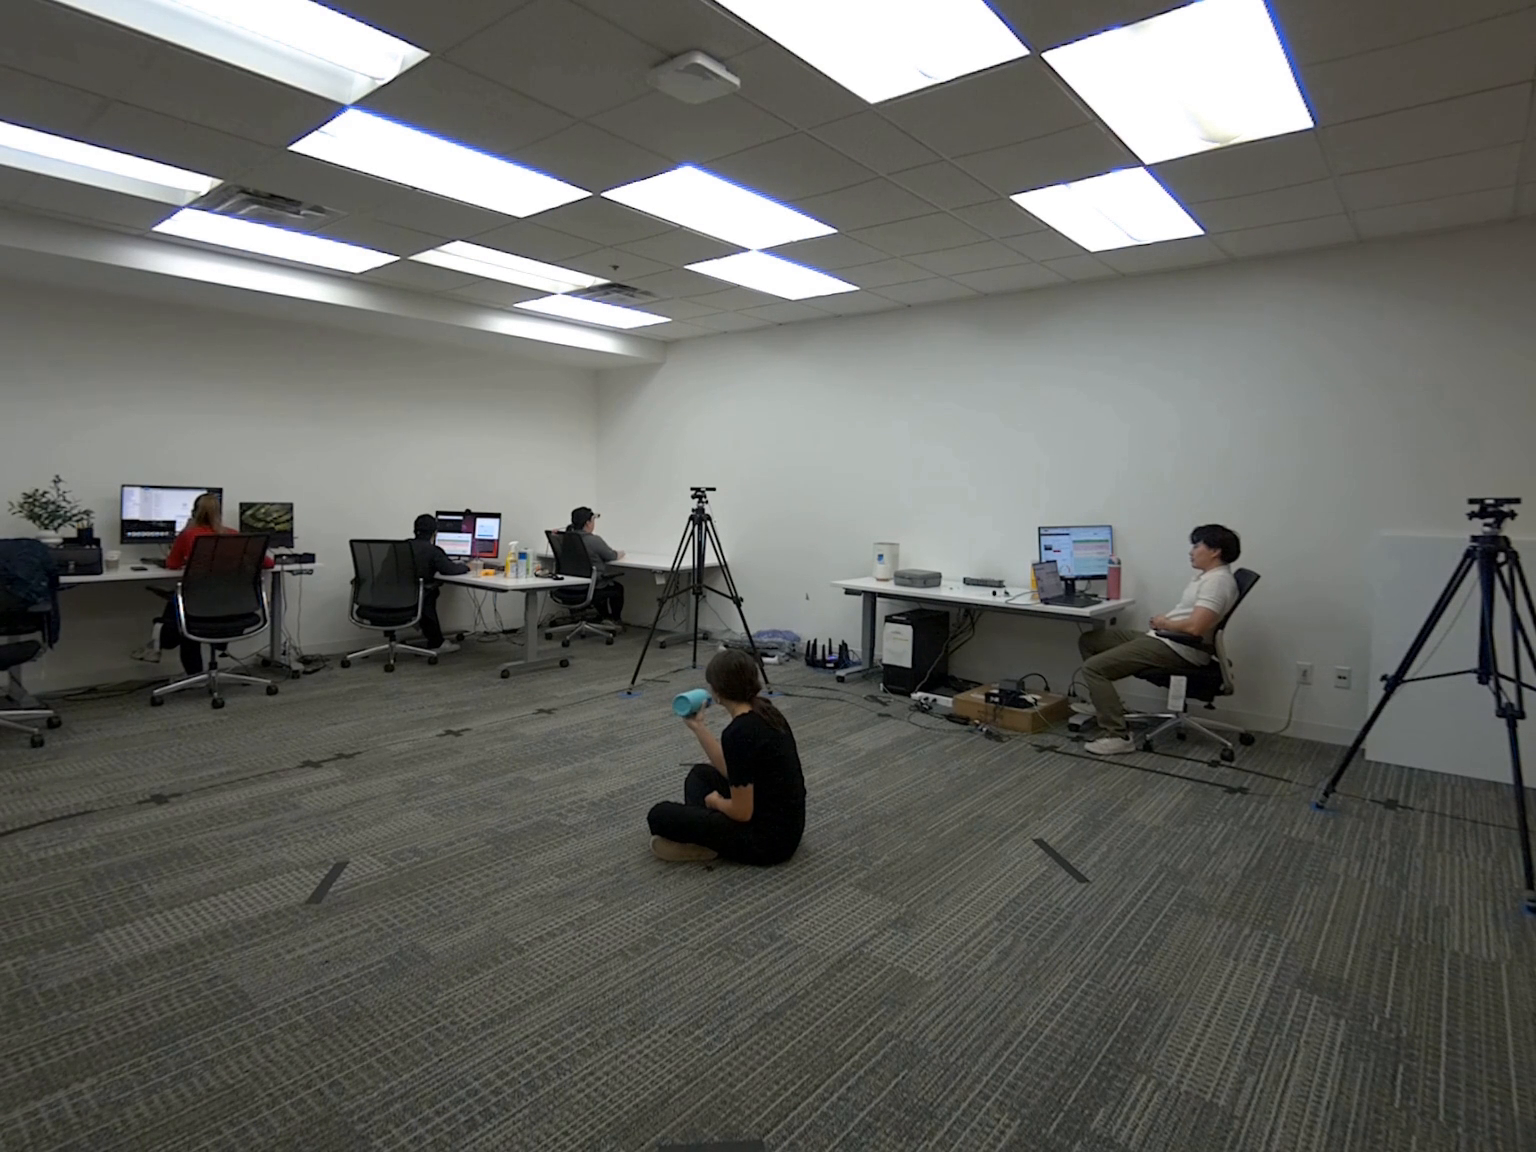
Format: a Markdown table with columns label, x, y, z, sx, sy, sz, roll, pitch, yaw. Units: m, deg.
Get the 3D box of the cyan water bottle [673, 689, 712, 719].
| label | x | y | z | sx | sy | sz | roll | pitch | yaw |
| --- | --- | --- | --- | --- | --- | --- | --- | --- | --- |
| cyan water bottle | -0.331 | 0.530 | 3.626 | 0.094 | 0.092 | 0.277 | 2 | -1 | 16 |
